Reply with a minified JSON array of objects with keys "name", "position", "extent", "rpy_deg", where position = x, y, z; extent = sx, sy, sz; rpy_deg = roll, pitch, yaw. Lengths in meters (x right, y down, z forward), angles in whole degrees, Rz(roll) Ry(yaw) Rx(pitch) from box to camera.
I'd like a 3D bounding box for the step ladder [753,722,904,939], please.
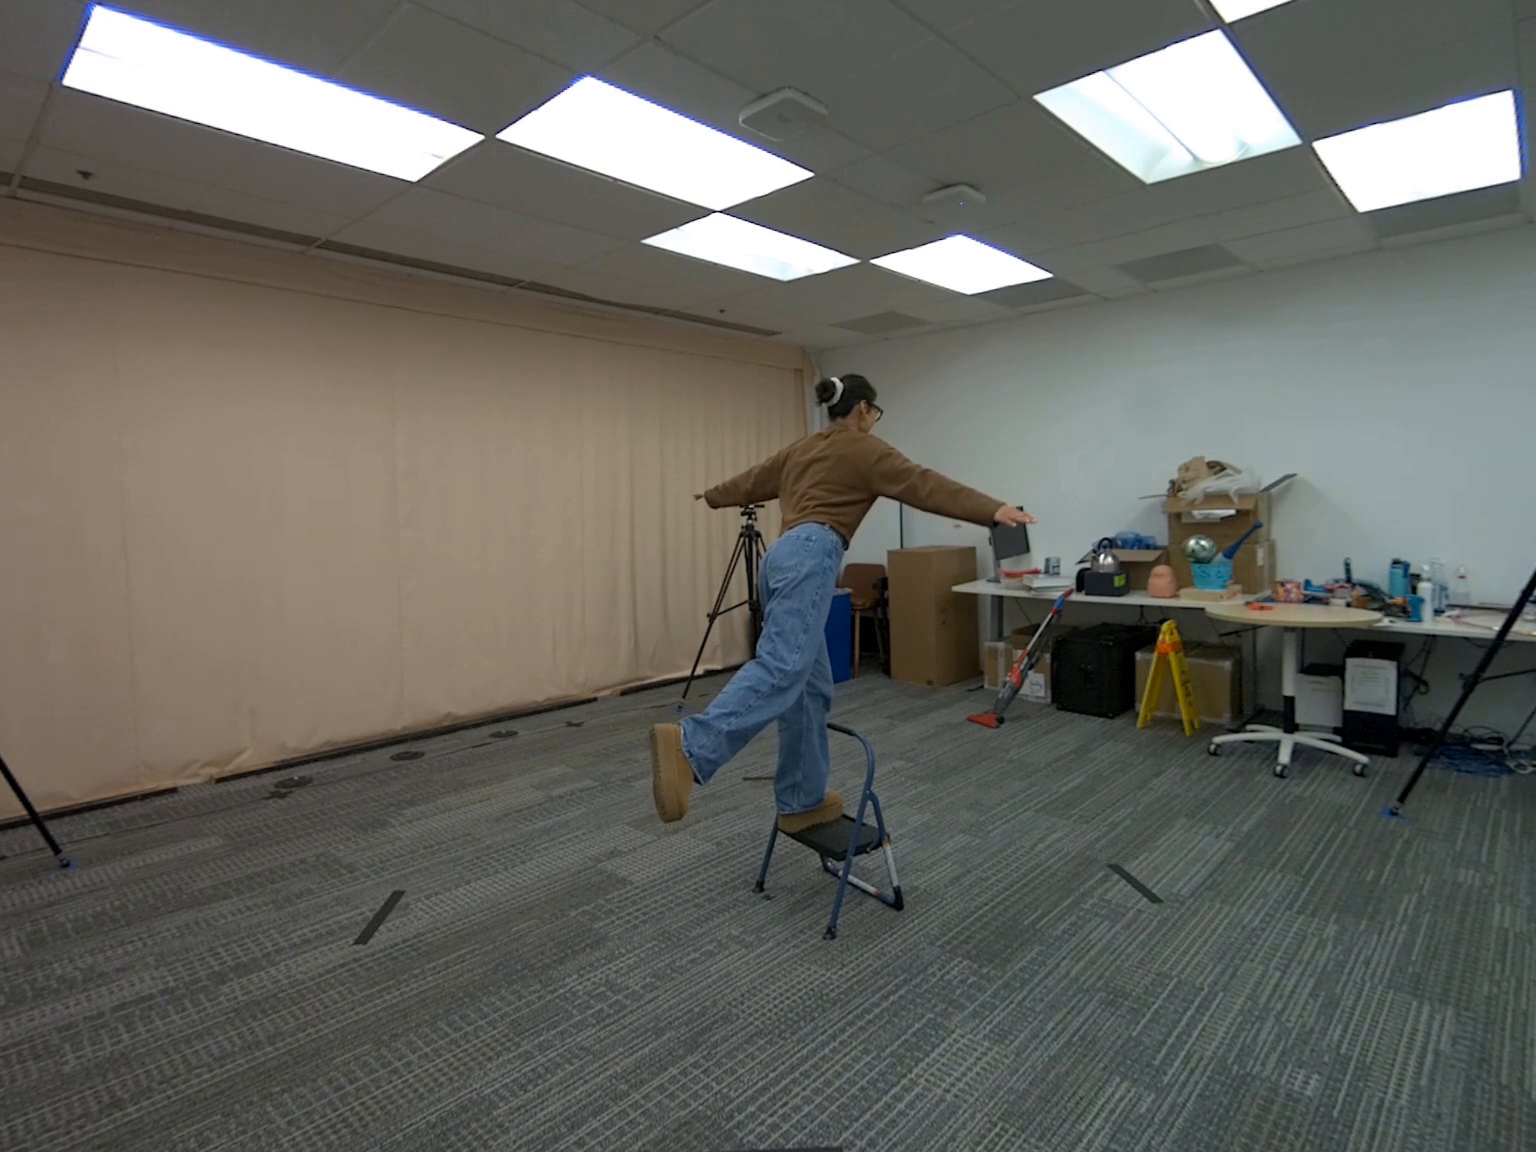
[{"name":"step ladder","position":[0.209,0.838,2.938],"extent":[0.339,0.605,0.444],"rpy_deg":[-3,4,-35]}]
